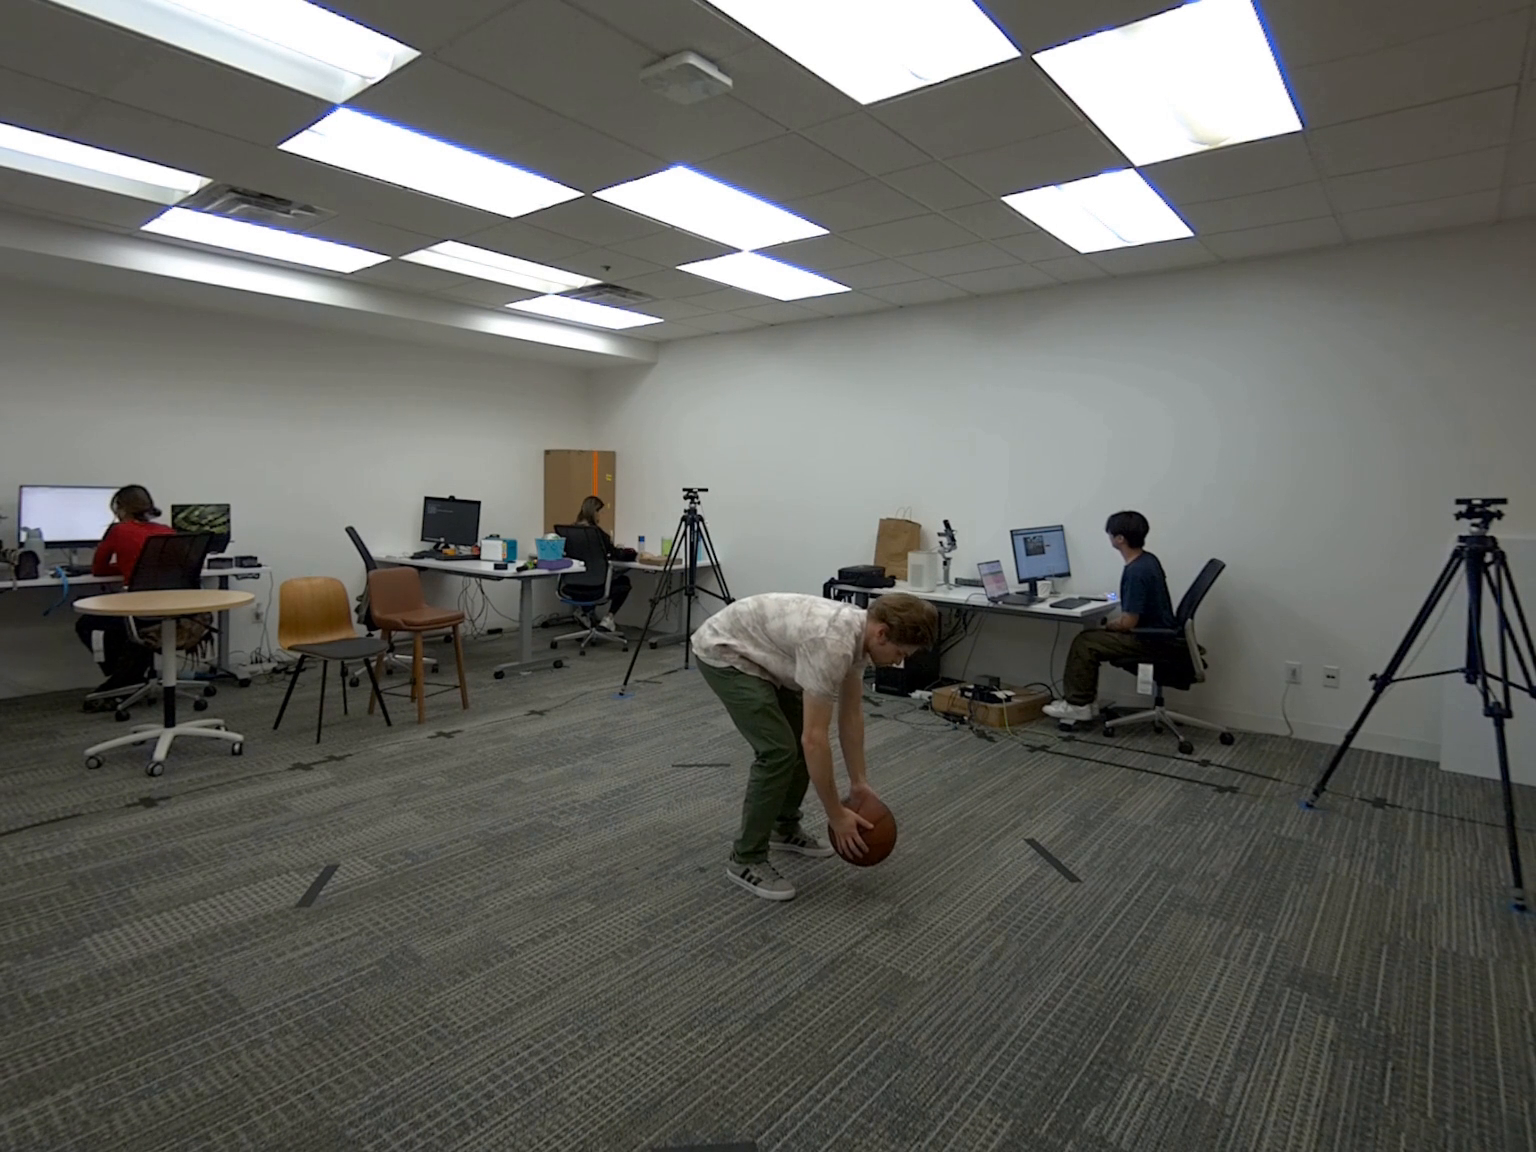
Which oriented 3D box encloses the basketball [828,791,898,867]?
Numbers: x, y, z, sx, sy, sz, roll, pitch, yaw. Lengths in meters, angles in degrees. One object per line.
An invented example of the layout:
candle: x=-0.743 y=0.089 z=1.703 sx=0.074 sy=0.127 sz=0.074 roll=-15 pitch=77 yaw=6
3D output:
basketball: x=0.317 y=0.881 z=2.965 sx=0.236 sy=0.235 sz=0.237 roll=1 pitch=4 yaw=-2
